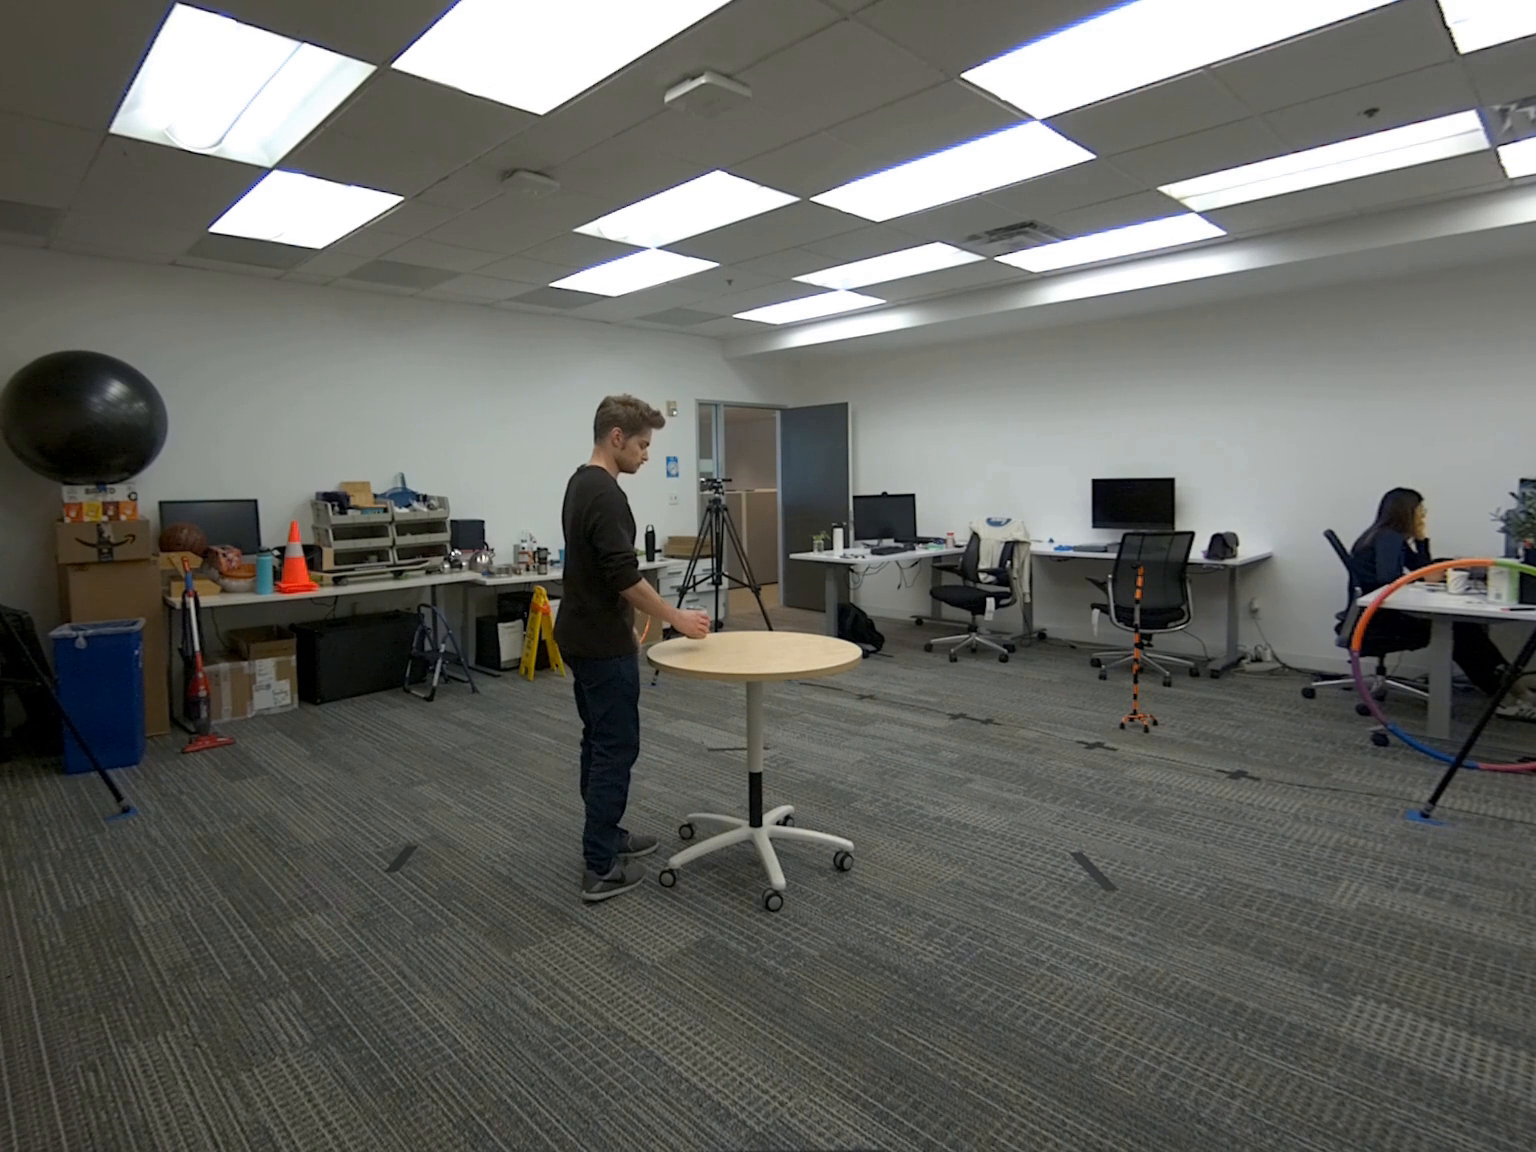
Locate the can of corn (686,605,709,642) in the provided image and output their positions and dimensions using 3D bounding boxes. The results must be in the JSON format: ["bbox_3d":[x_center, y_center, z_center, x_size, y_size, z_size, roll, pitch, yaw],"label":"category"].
[{"bbox_3d":[-0.256,0.170,3.092,0.074,0.110,0.075,3,9,-2],"label":"can of corn"}]
